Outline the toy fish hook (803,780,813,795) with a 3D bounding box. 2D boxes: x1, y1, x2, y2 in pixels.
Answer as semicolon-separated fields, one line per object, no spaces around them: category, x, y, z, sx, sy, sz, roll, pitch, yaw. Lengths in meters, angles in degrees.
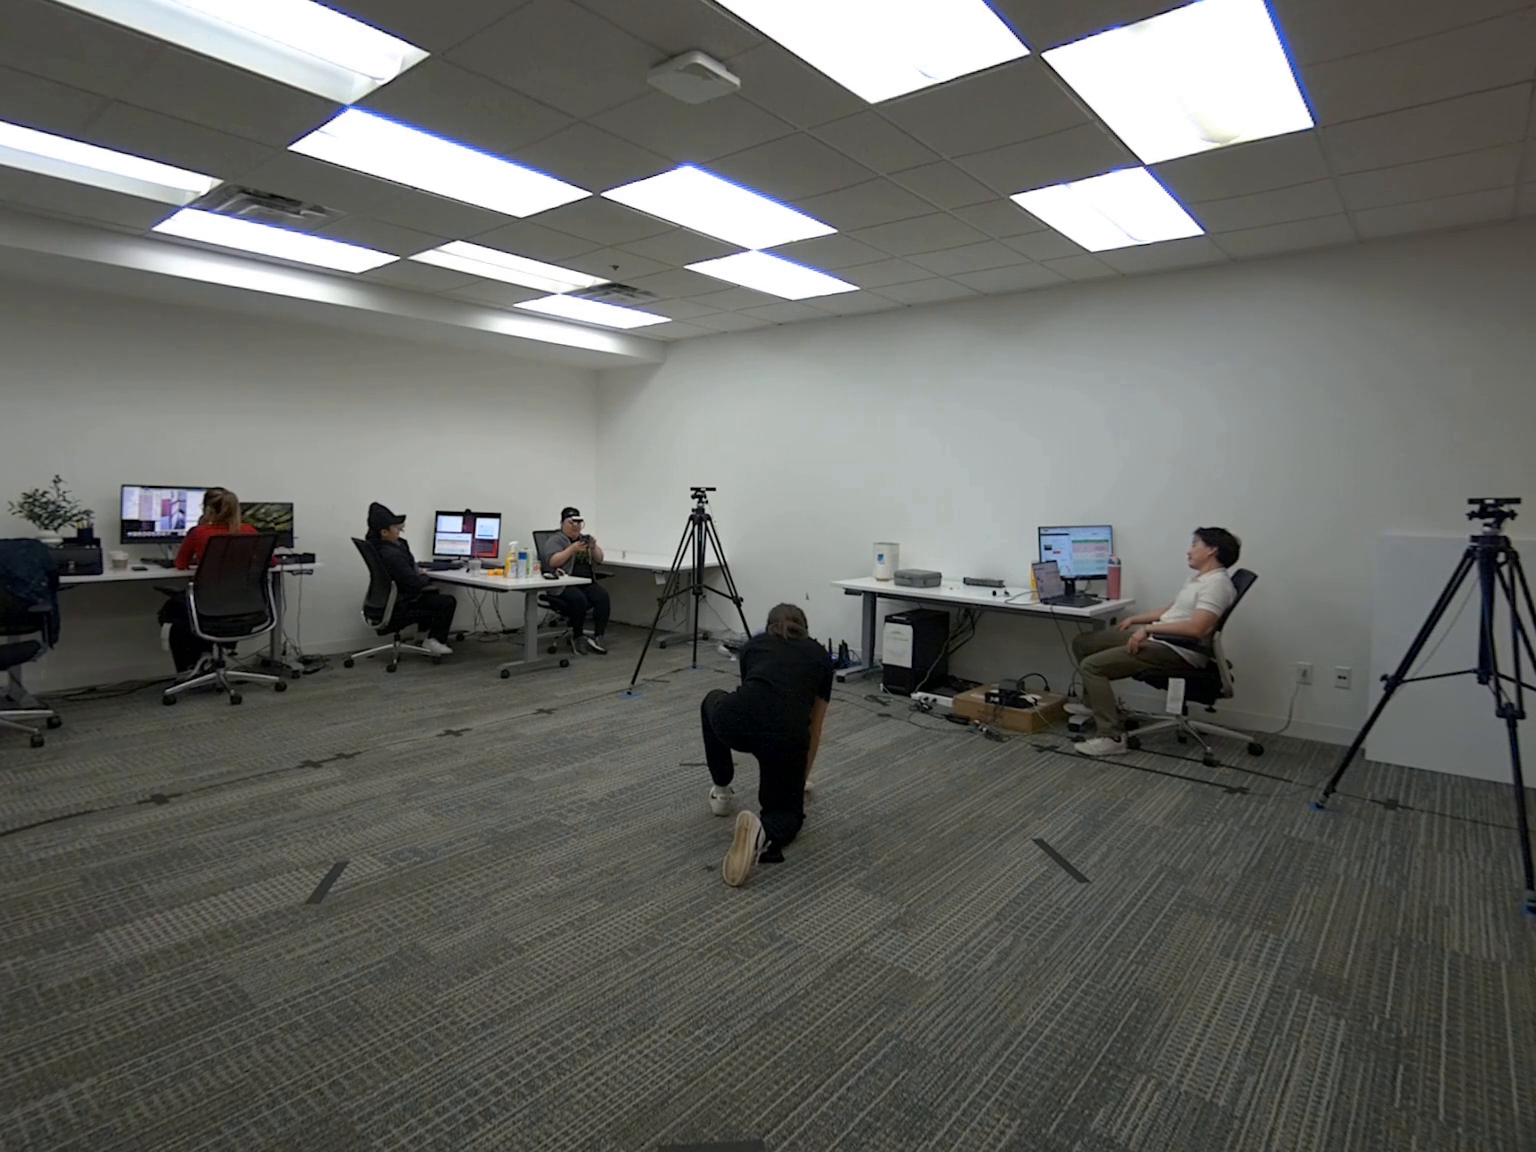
toy fish hook;0.041;0.927;3.773;0.228;0.049;0.492;-5;-12;16
